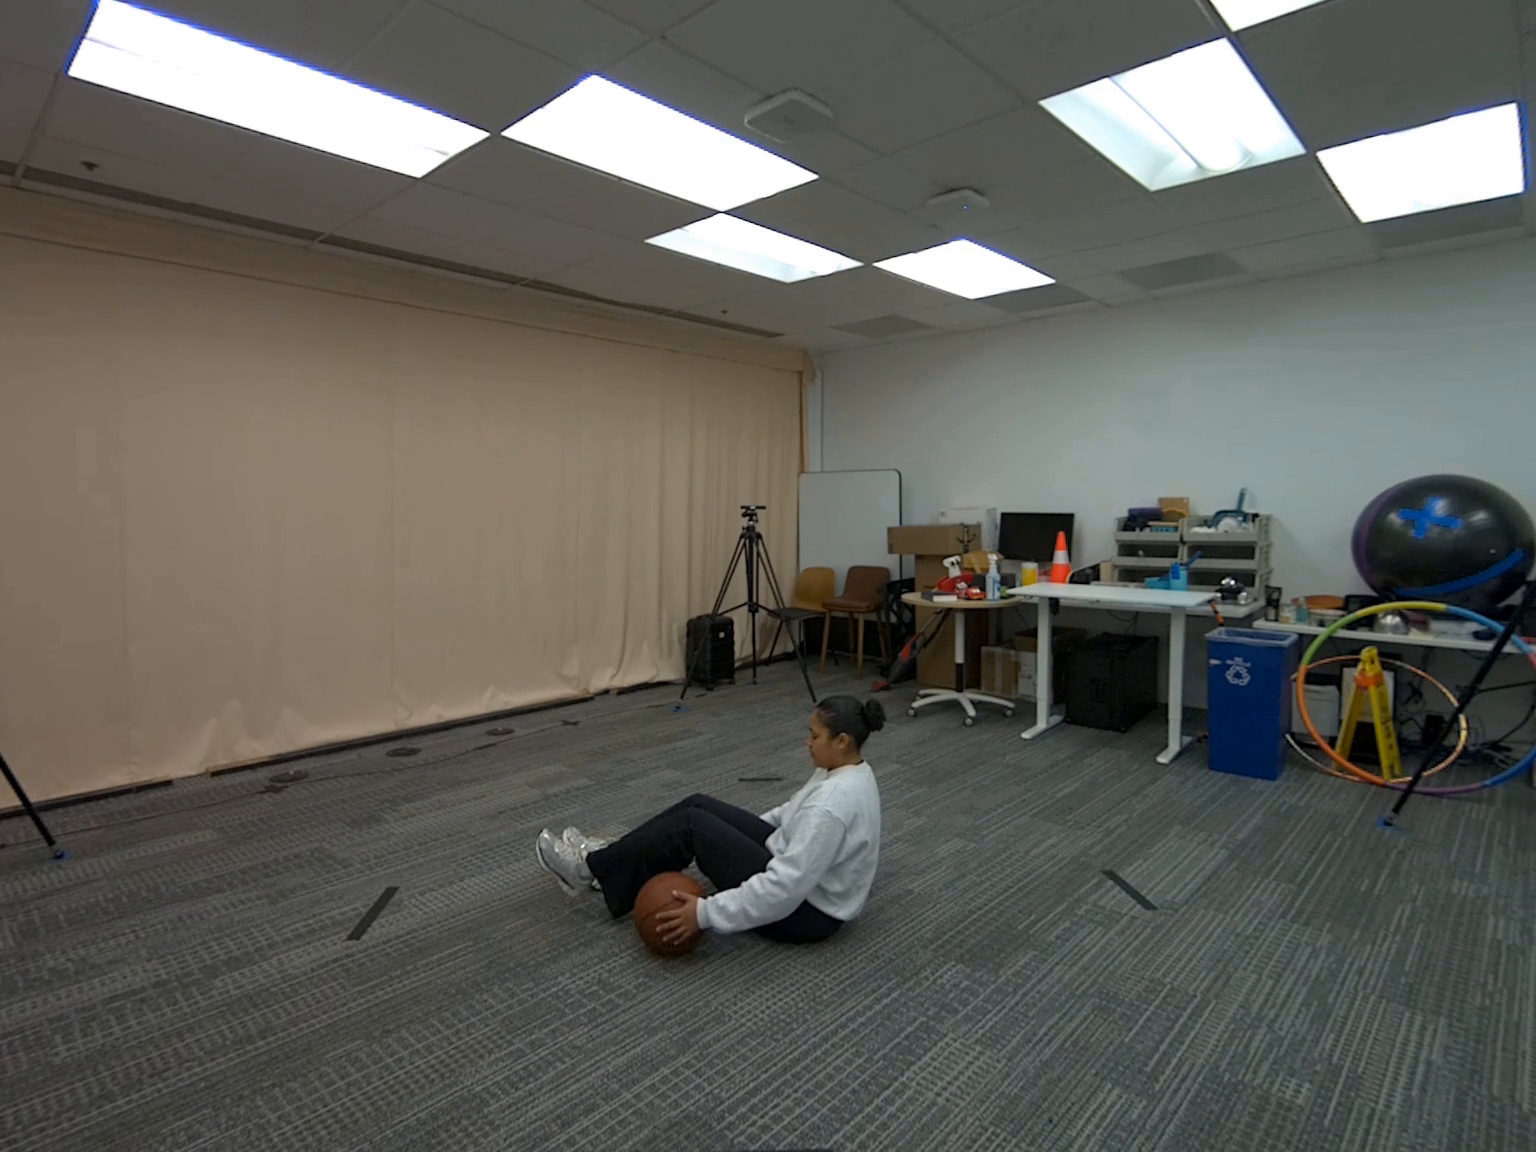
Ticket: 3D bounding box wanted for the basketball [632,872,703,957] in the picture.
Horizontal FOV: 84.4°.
[{"bbox_3d":[-0.301,1.050,2.656,0.236,0.235,0.237,0,4,-2],"label":"basketball"}]
